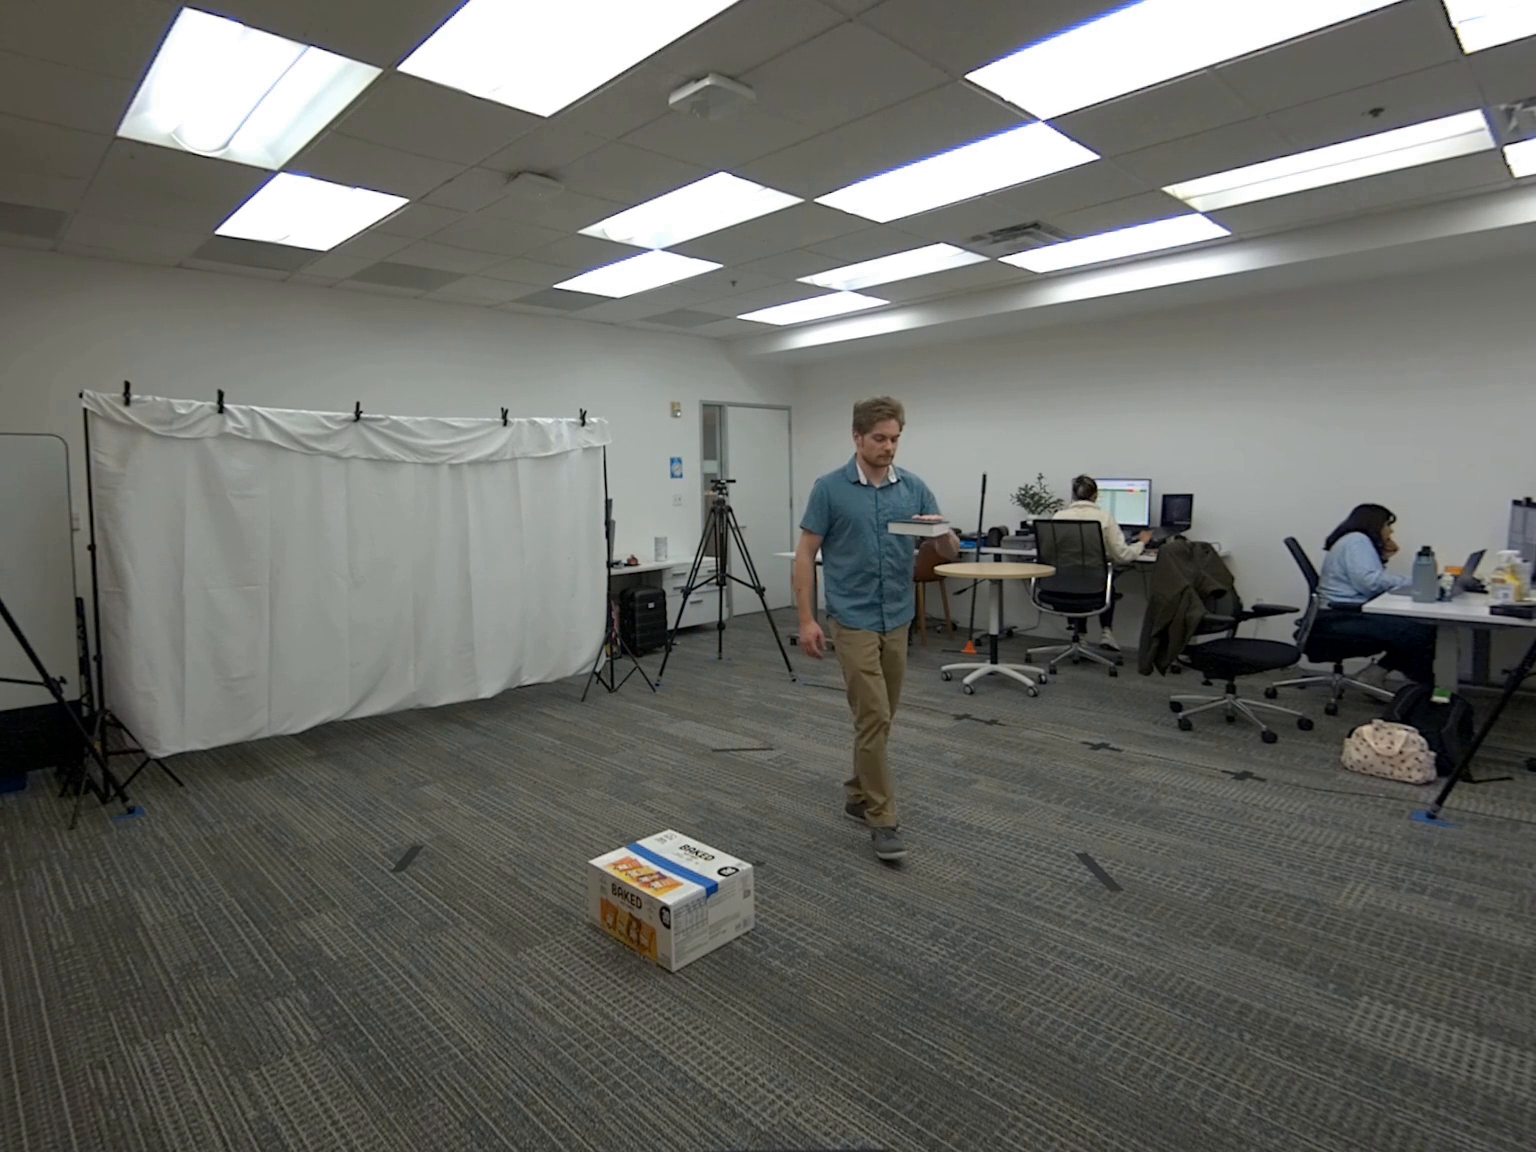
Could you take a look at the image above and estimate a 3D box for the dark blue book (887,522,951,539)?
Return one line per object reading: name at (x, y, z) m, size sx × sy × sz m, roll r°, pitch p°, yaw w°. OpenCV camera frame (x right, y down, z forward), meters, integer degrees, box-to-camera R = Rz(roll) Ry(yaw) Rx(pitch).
dark blue book at (0.539, -0.170, 2.994) m, size 0.167 × 0.045 × 0.240 m, roll 5°, pitch 7°, yaw 25°
